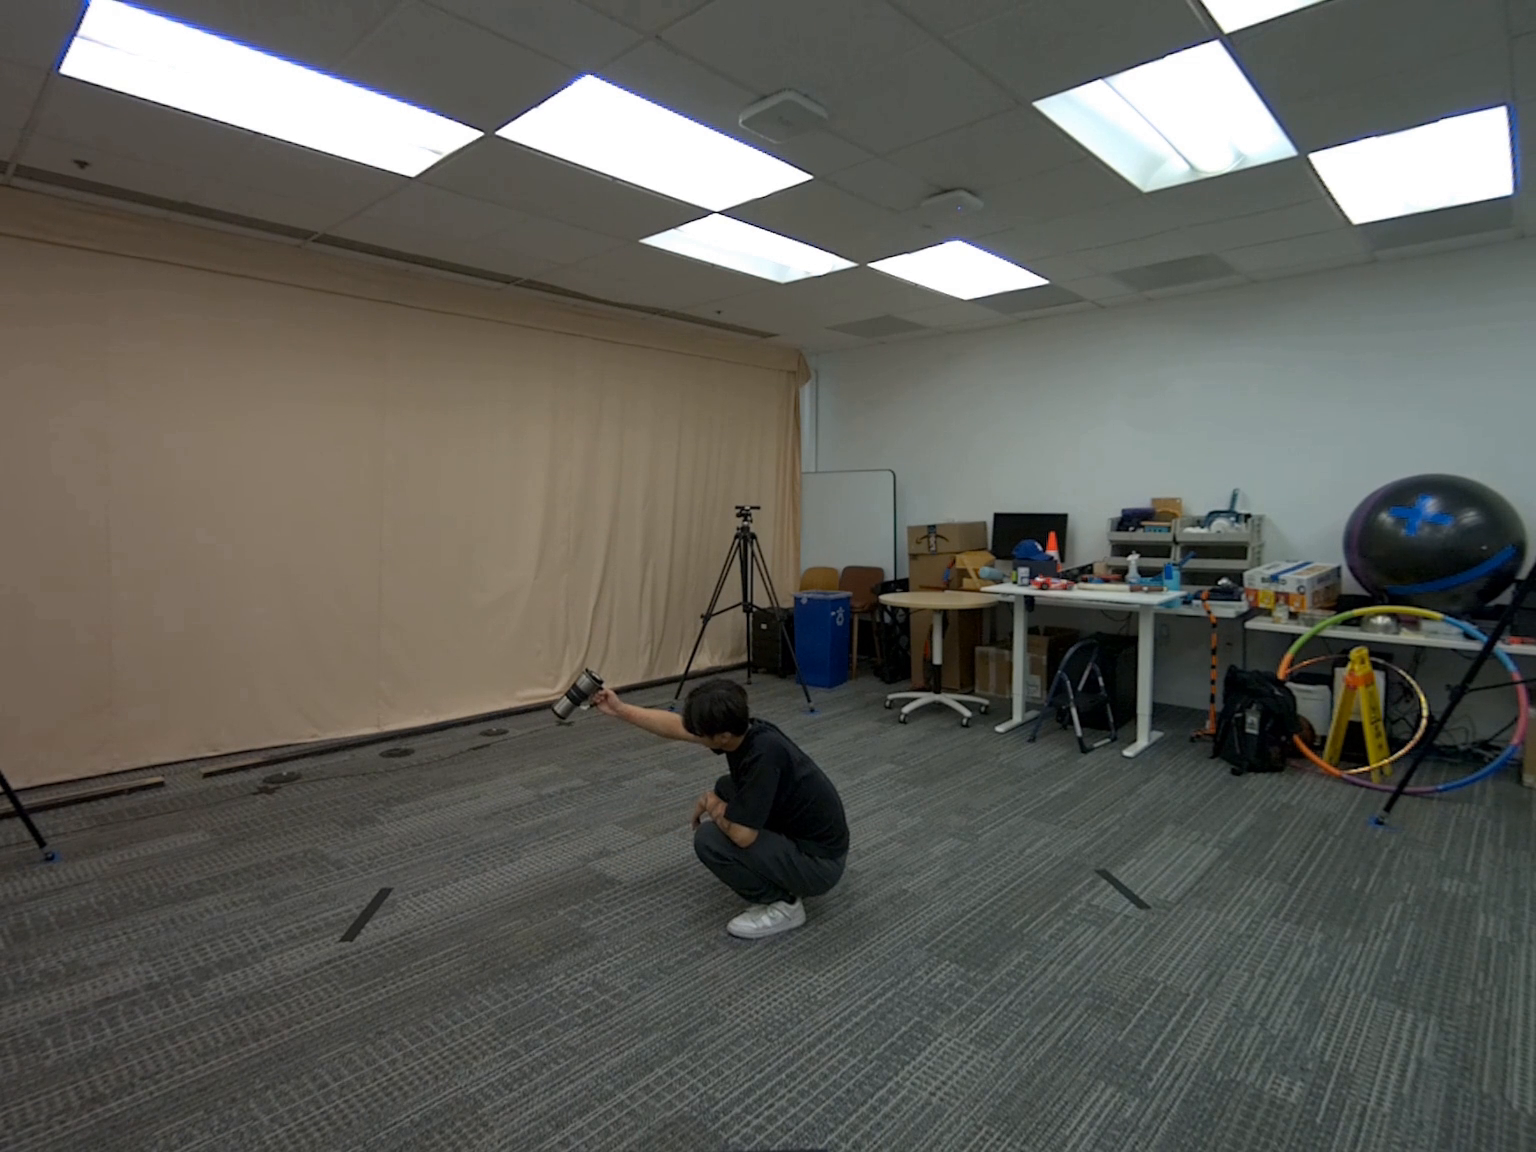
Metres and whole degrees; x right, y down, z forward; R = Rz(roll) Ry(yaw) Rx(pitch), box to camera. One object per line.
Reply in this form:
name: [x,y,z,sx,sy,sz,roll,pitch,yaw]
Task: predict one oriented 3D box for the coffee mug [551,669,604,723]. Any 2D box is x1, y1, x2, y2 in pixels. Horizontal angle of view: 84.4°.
coffee mug: [-0.700,0.453,3.100,0.085,0.203,0.126,44,1,-34]
